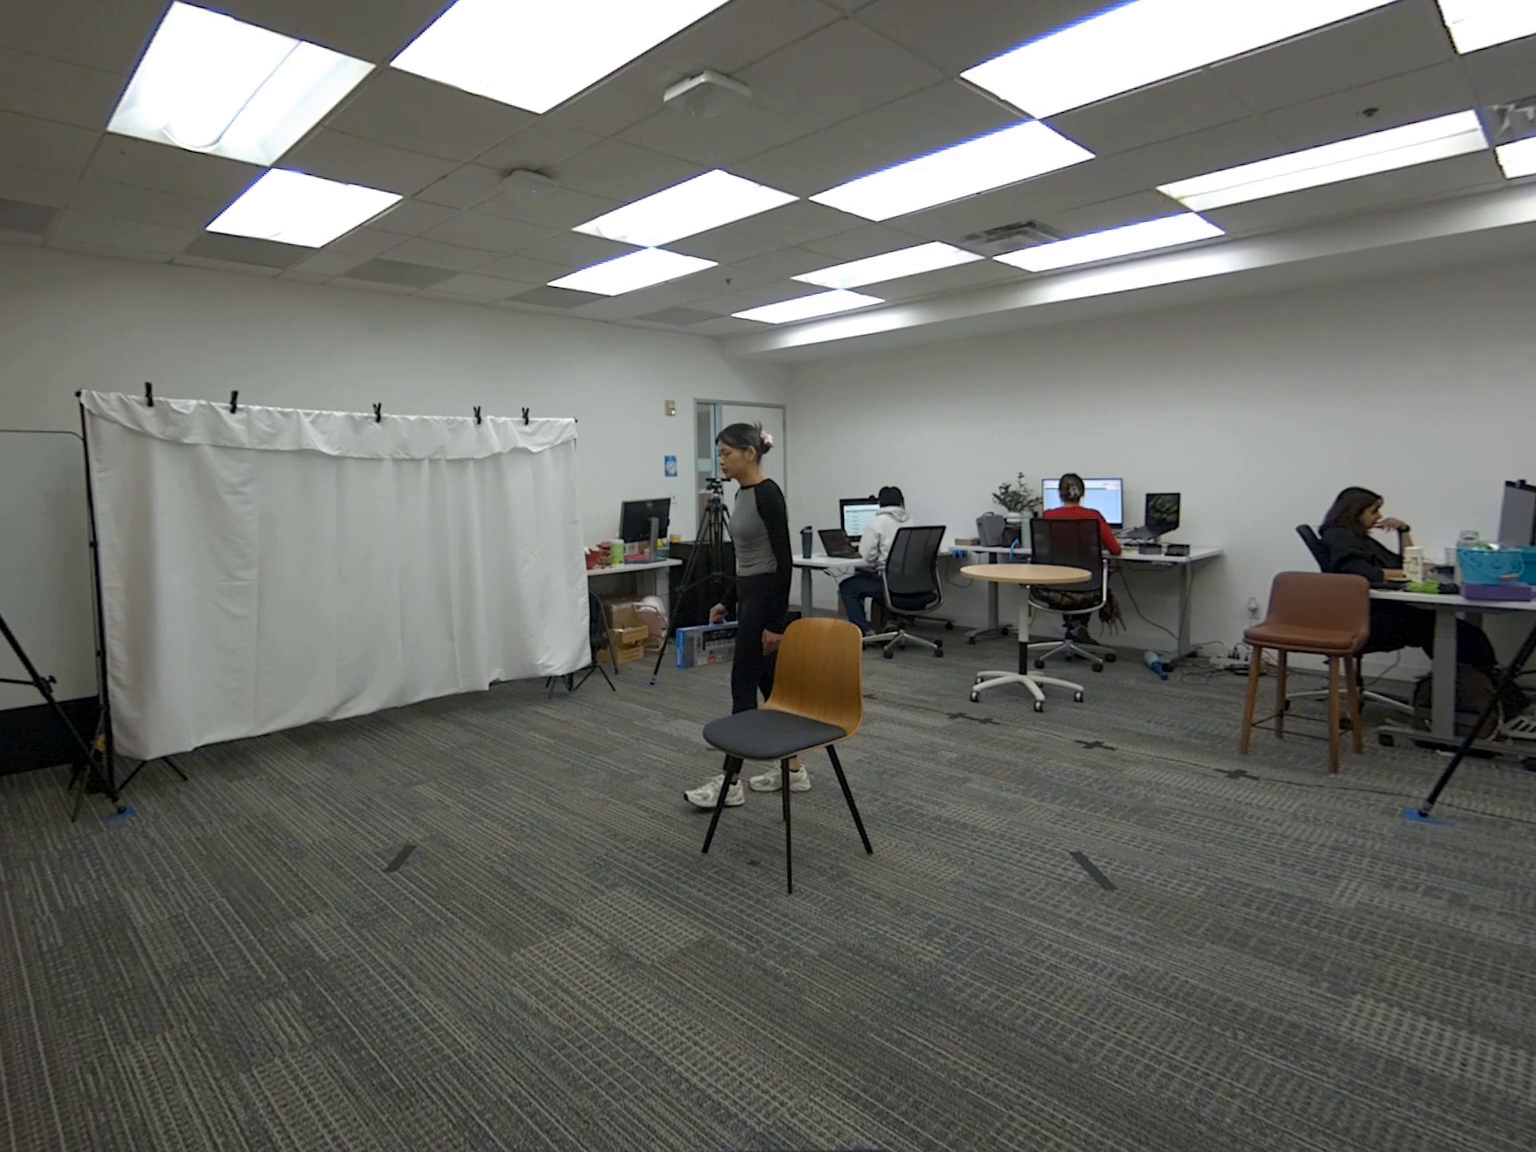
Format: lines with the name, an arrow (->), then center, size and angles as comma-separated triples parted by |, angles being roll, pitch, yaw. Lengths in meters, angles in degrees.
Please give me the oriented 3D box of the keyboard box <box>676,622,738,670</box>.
keyboard box -> -0.220, 0.308, 3.888 | 0.425, 0.175, 0.061 | -4, 6, -36
